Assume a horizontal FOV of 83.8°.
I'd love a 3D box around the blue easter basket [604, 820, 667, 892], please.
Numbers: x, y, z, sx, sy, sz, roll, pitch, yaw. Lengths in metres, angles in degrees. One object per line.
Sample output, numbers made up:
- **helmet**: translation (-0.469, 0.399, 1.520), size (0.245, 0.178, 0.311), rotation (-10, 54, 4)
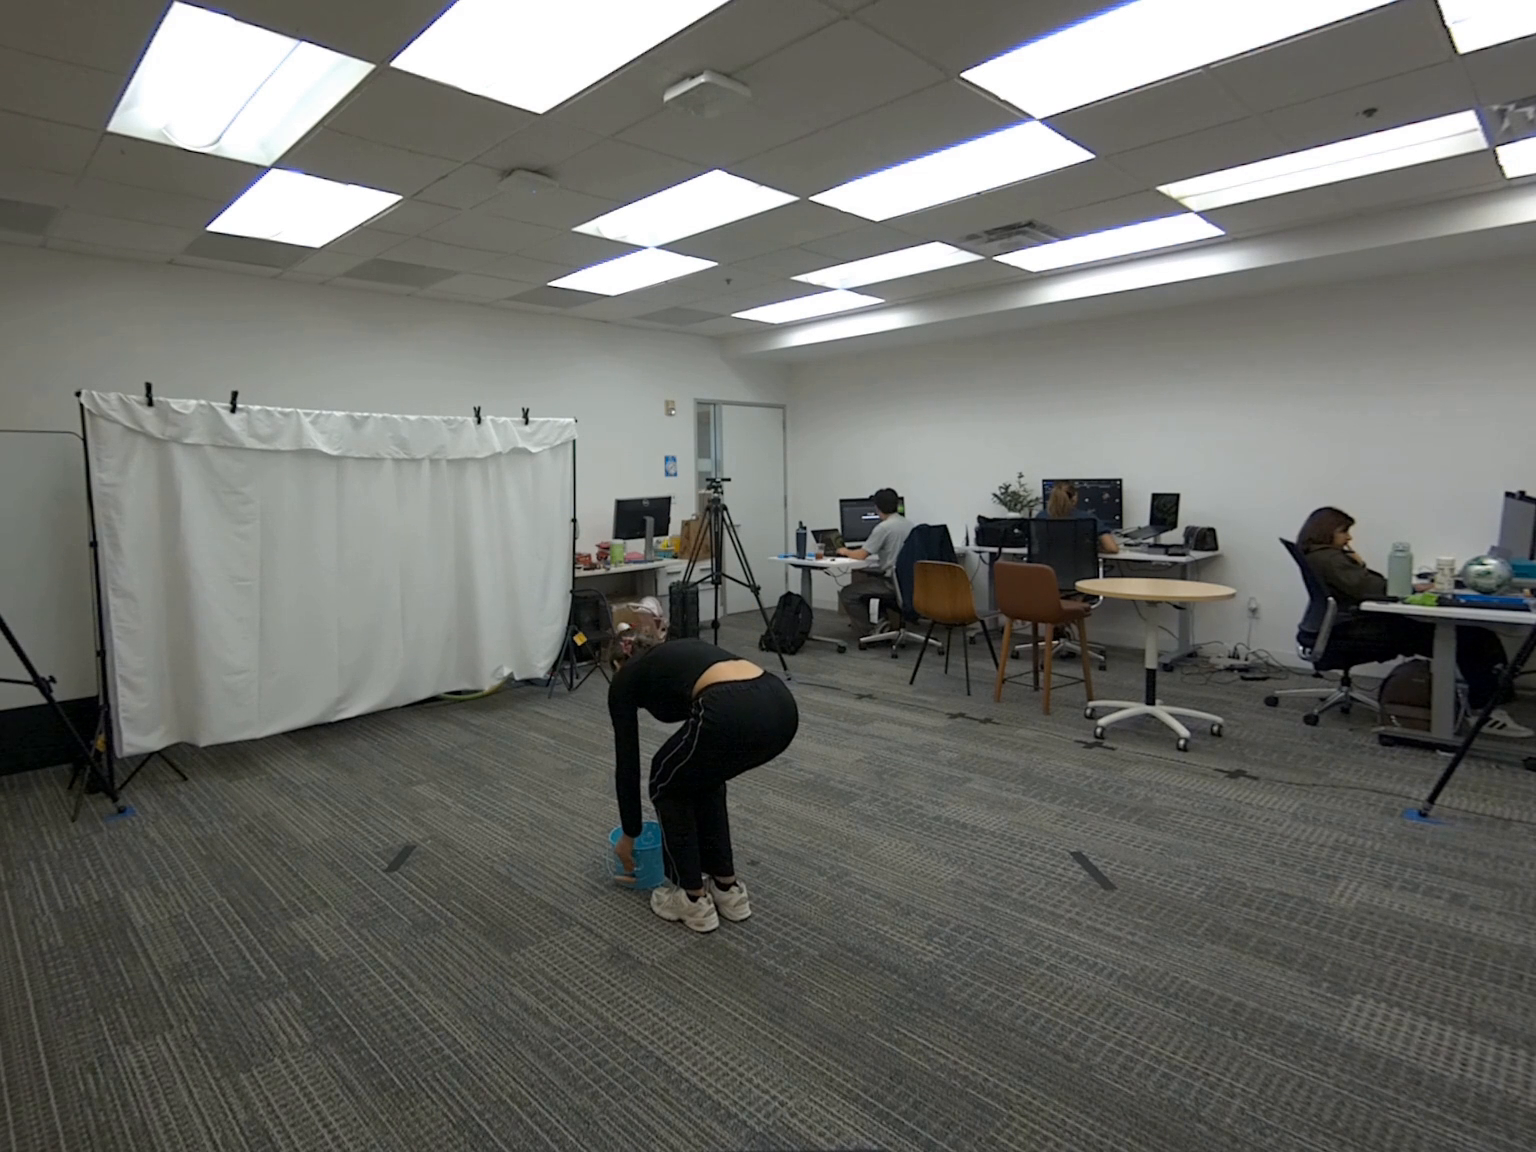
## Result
- **blue easter basket**: translation (-0.433, 0.984, 3.005), size (0.243, 0.155, 0.245), rotation (-1, 5, -2)
